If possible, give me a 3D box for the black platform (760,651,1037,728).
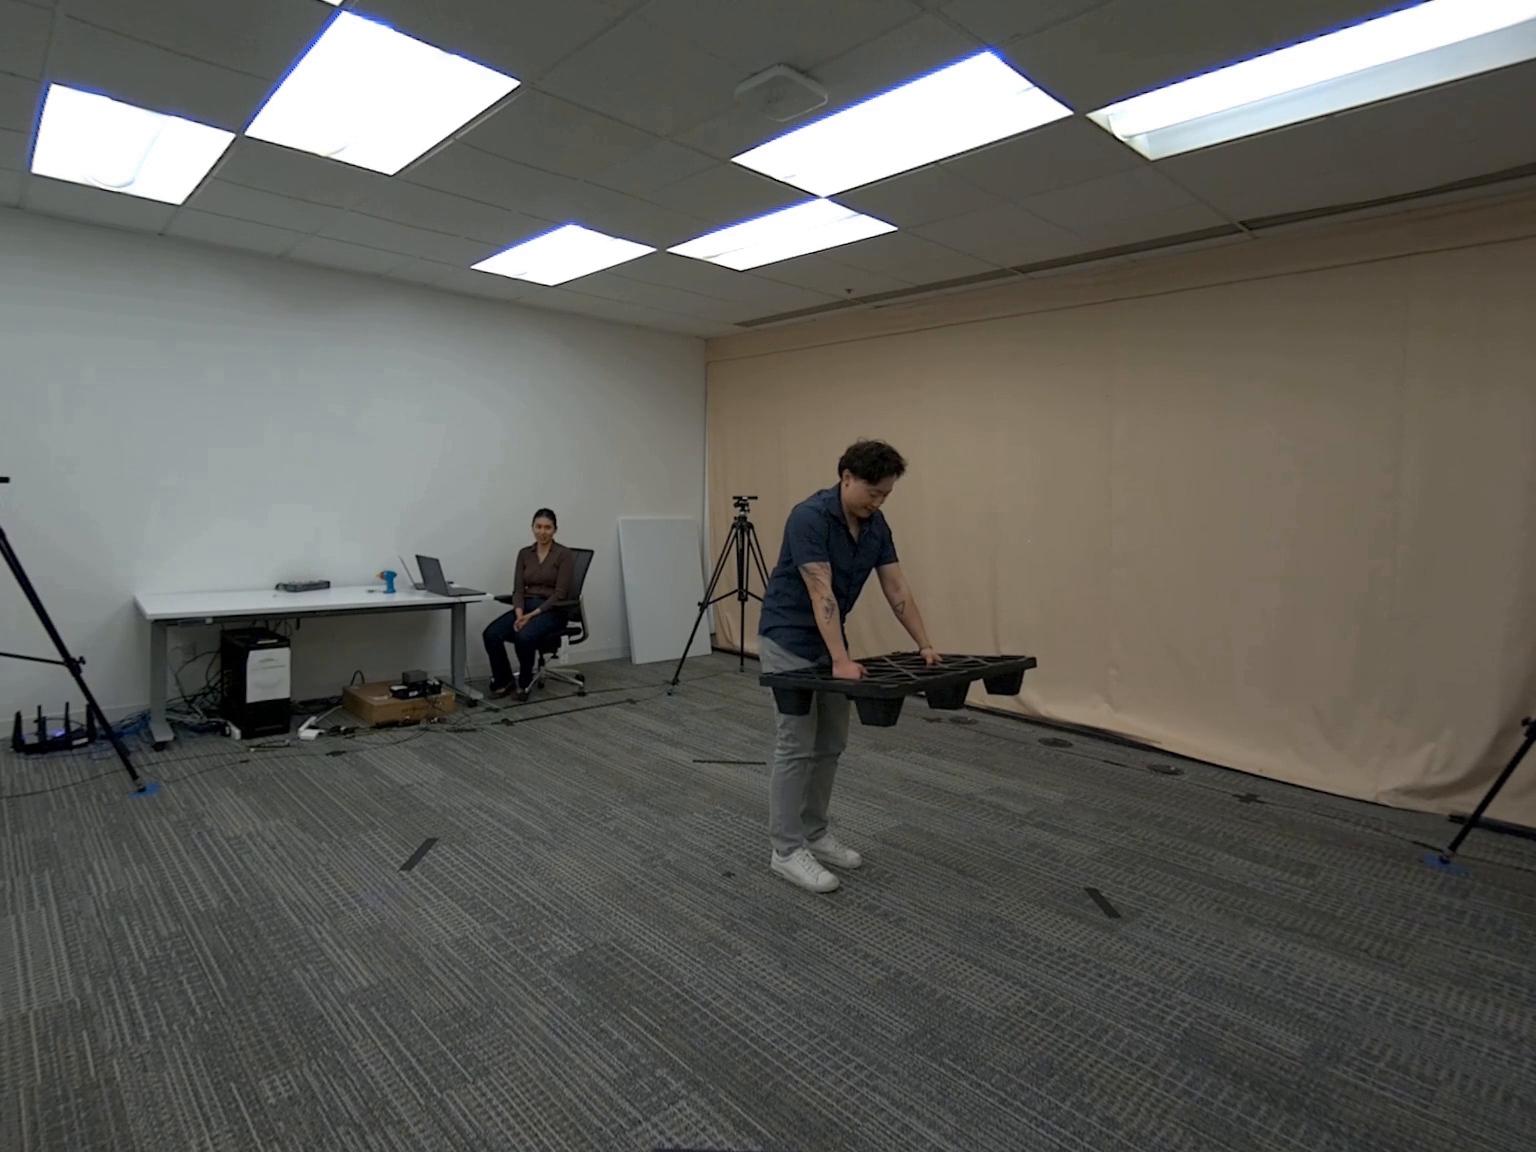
[{"bbox_3d":[0.451,0.383,2.922,0.787,0.143,0.618,-3,0,-40],"label":"black platform"}]
